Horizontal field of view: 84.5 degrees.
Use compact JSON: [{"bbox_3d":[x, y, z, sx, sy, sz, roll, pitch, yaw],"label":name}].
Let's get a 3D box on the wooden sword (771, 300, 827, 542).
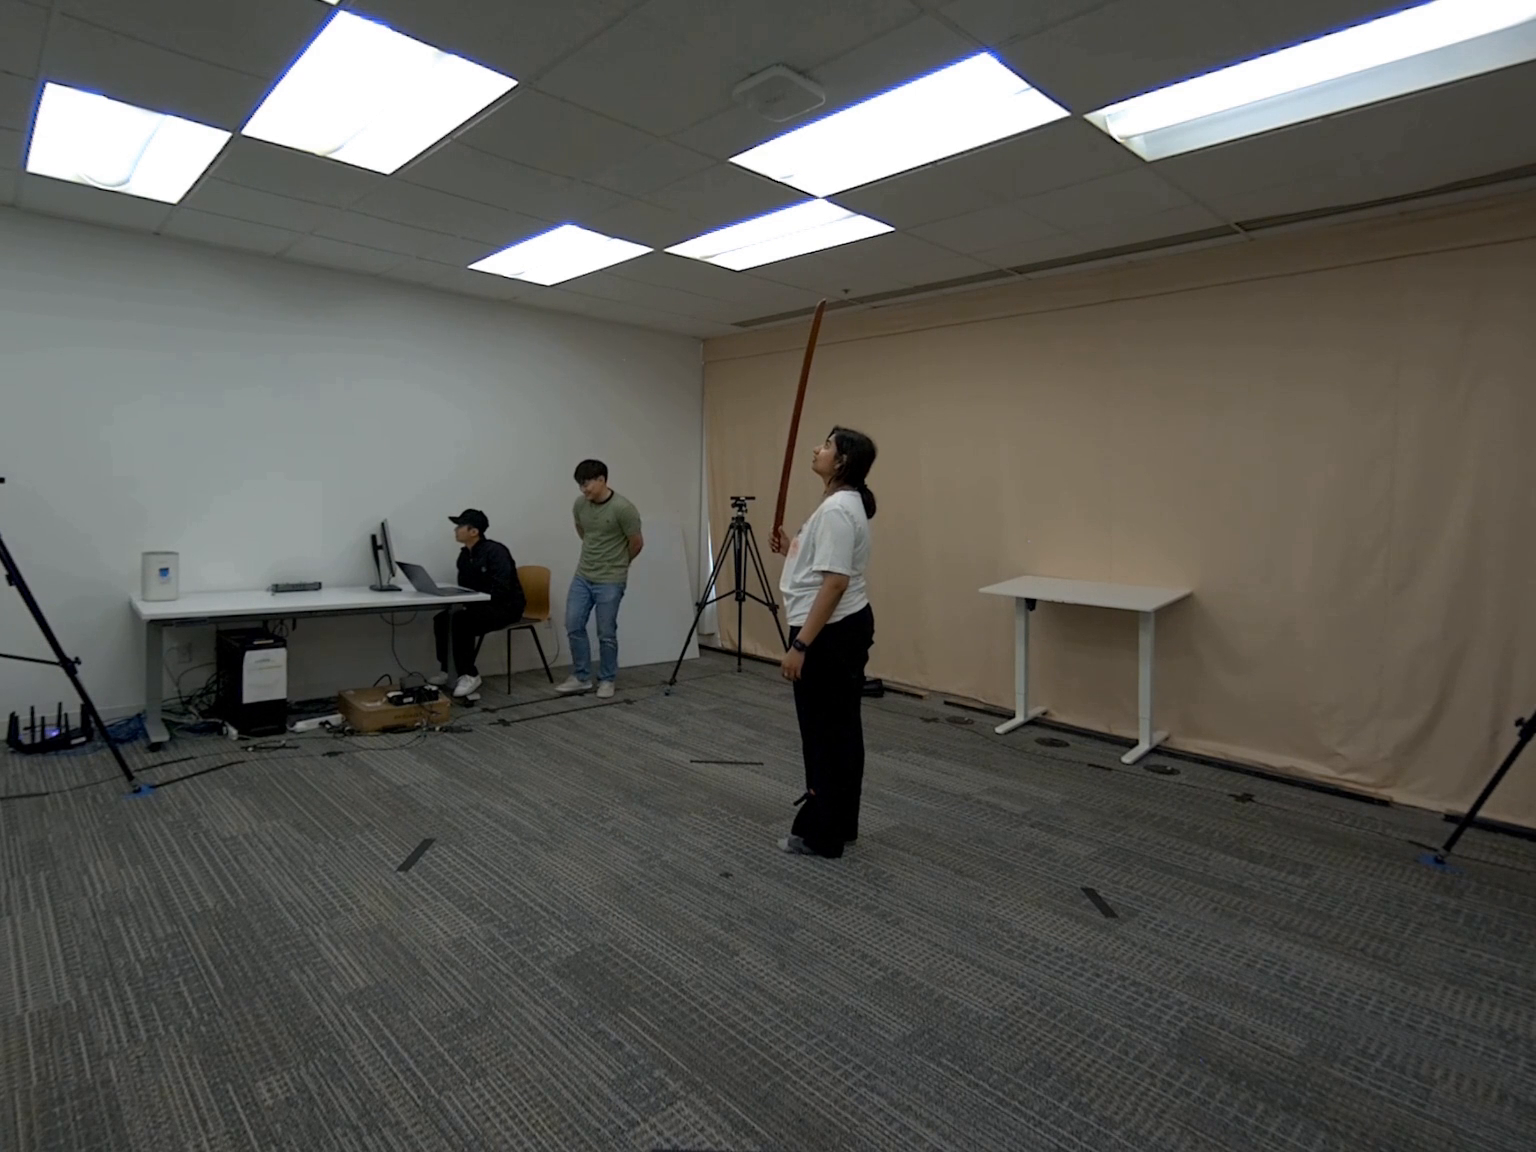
[{"bbox_3d":[0.099,-0.573,3.364,0.050,1.013,0.025,0,22,-28],"label":"wooden sword"}]
